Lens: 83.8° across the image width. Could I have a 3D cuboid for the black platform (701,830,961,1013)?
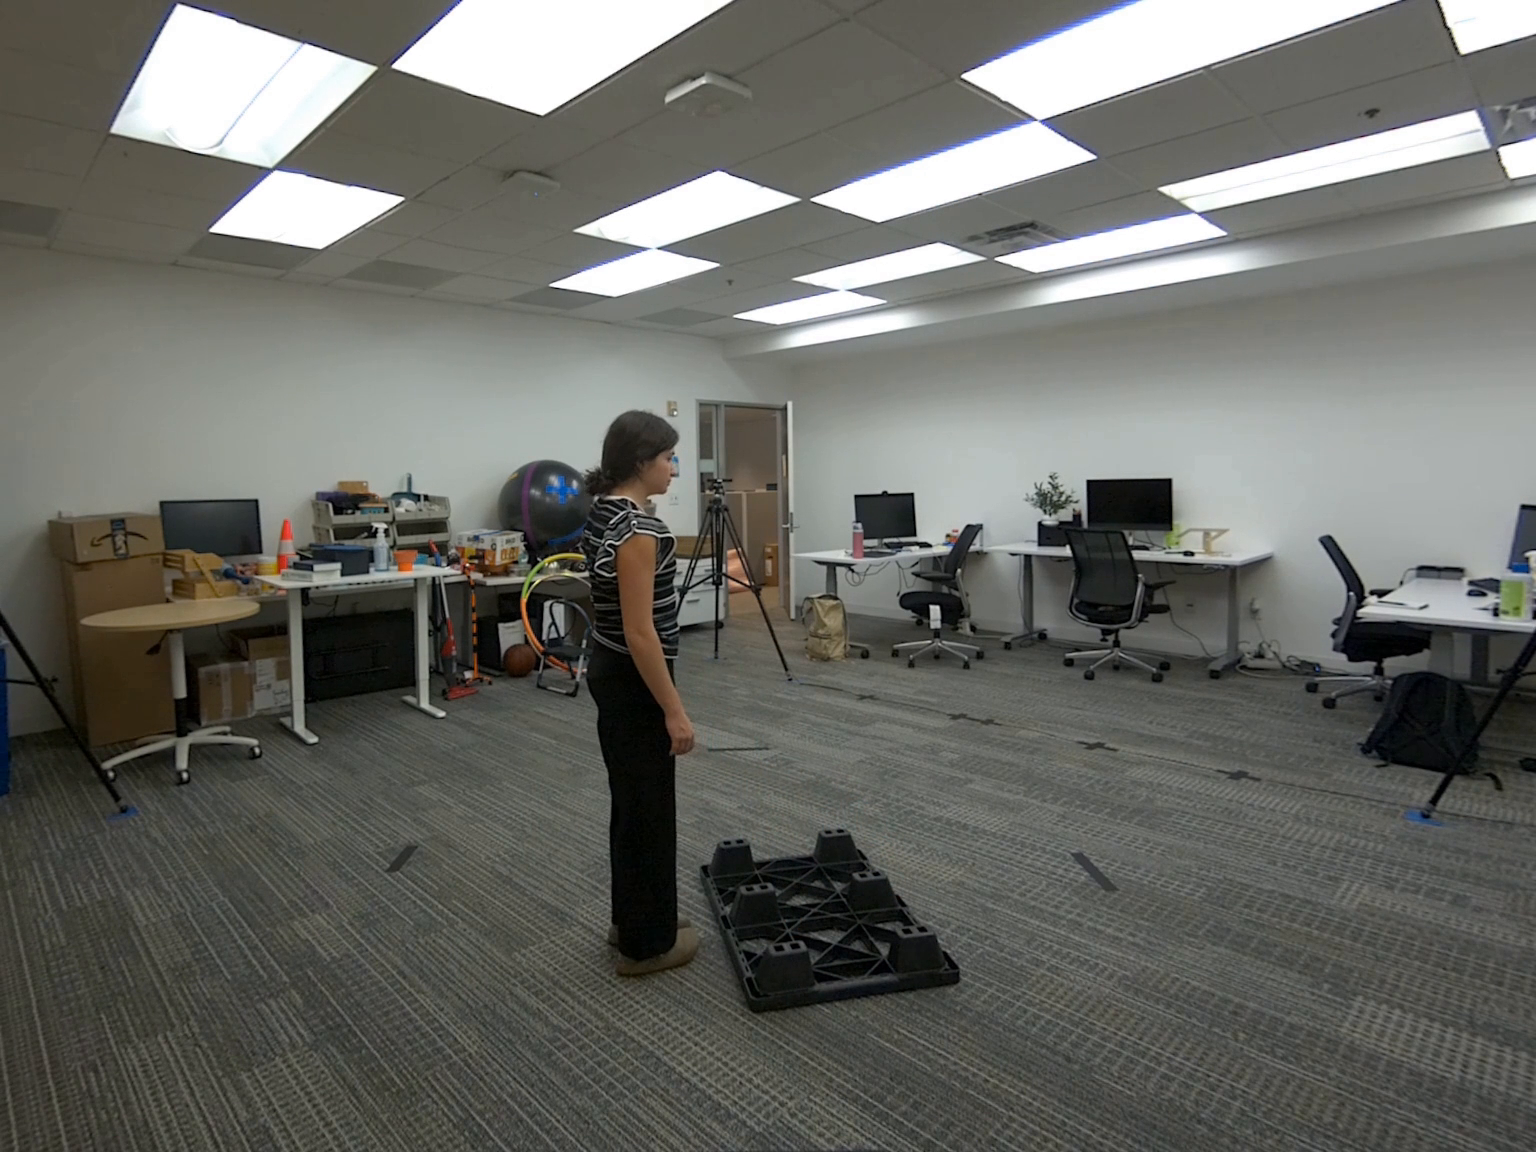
[{"bbox_3d":[0.154,1.024,2.678,0.598,0.142,0.820,-3,8,-14],"label":"black platform"}]
